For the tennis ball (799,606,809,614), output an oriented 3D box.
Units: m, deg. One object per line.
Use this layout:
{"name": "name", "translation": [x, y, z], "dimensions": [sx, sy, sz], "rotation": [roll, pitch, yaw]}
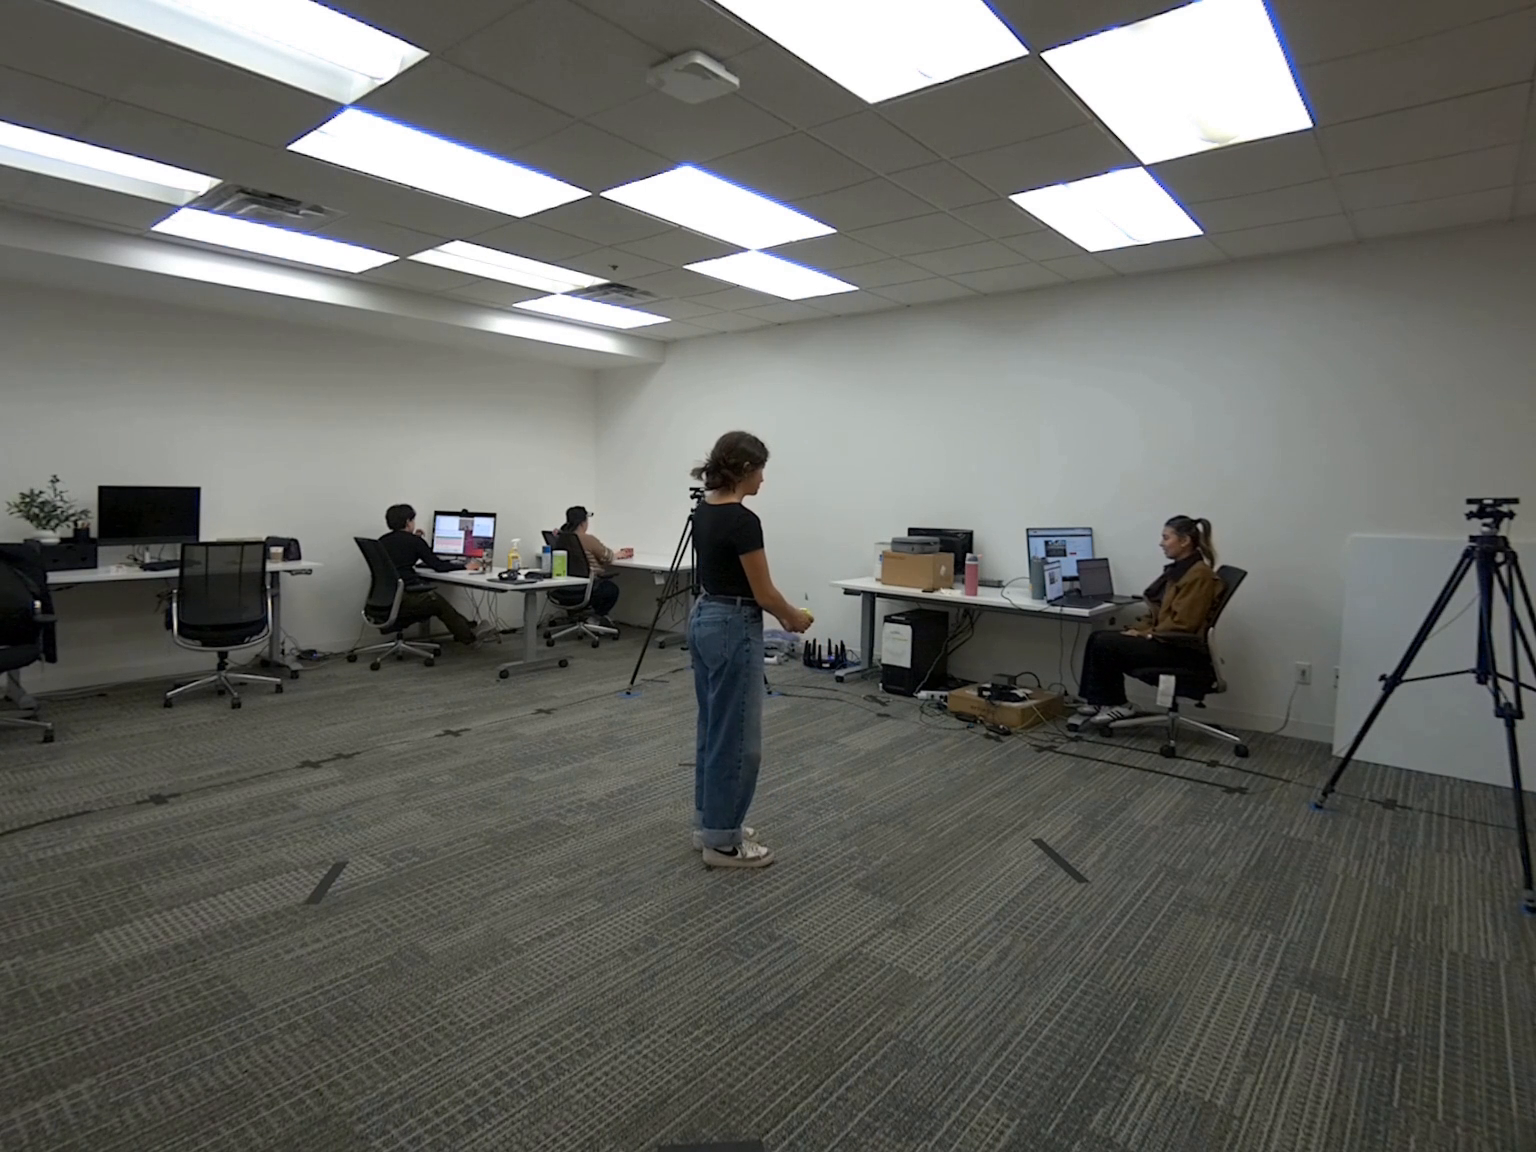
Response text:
{"name": "tennis ball", "translation": [0.125, 0.153, 3.322], "dimensions": [0.066, 0.066, 0.067], "rotation": [1, 4, -2]}
